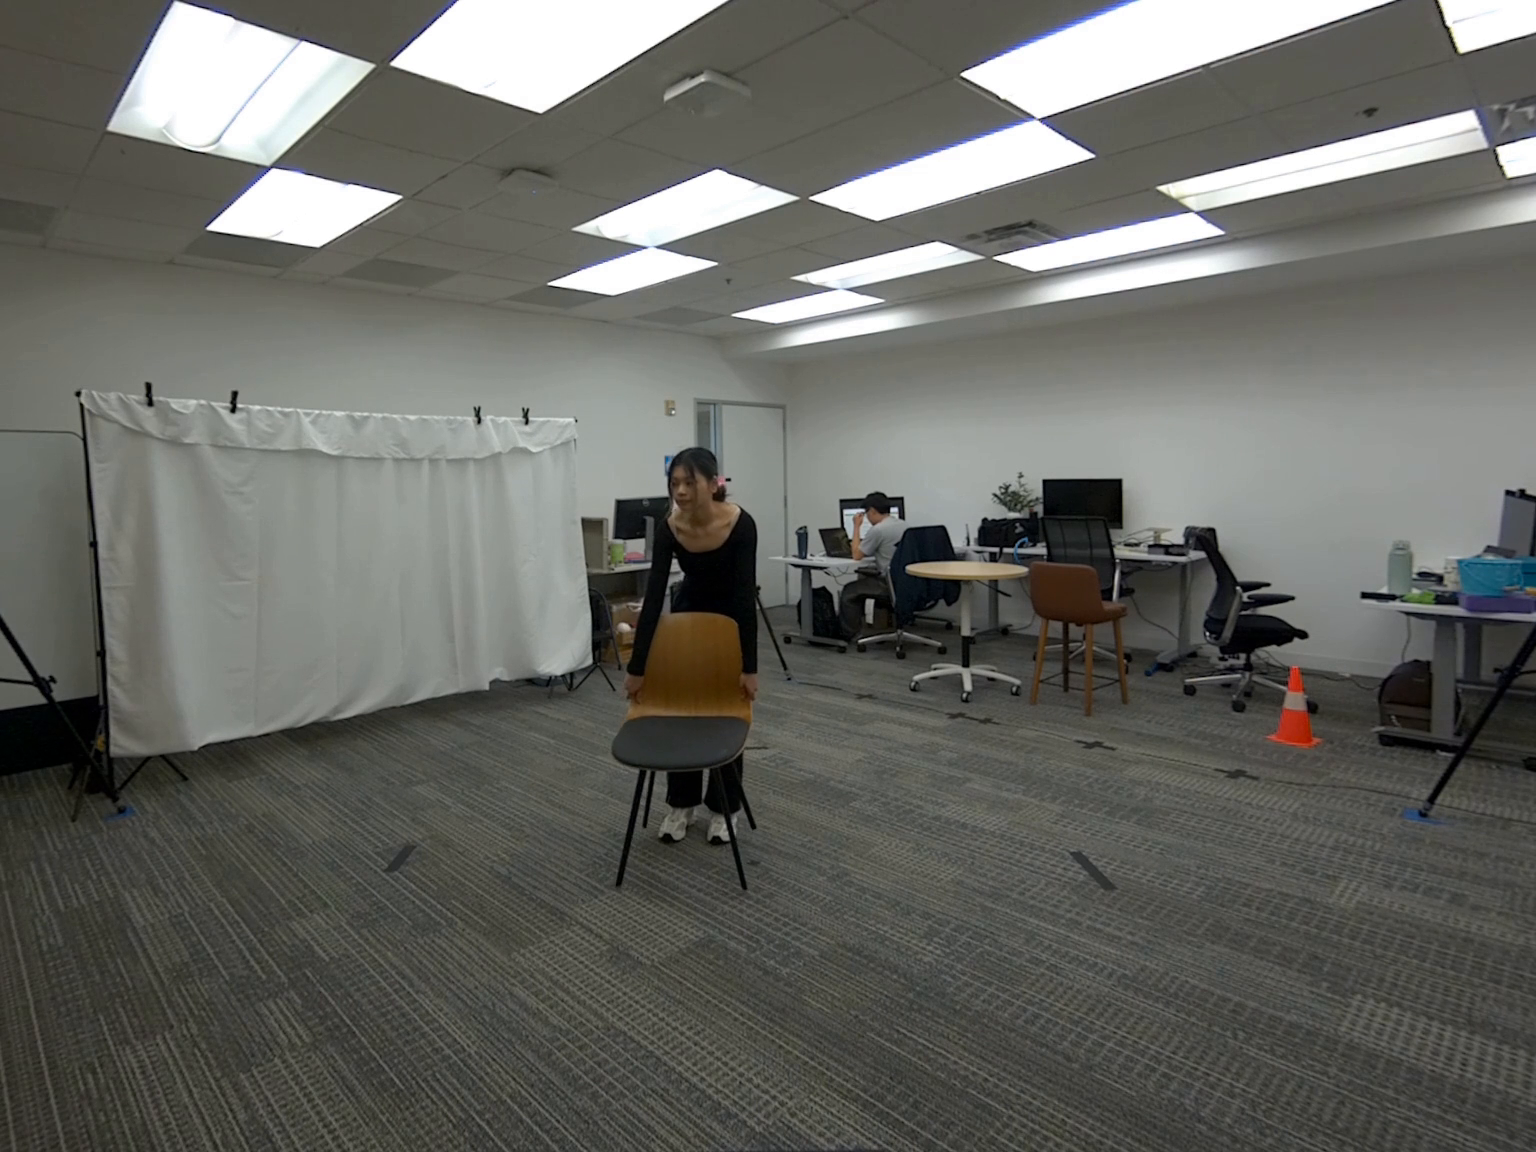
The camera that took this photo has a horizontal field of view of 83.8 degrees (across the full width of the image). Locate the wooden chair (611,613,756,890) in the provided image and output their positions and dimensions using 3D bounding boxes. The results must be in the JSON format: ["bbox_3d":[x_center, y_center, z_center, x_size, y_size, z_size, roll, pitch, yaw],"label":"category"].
[{"bbox_3d":[-0.297,0.599,3.054,0.481,0.876,0.521,-1,2,6],"label":"wooden chair"}]
